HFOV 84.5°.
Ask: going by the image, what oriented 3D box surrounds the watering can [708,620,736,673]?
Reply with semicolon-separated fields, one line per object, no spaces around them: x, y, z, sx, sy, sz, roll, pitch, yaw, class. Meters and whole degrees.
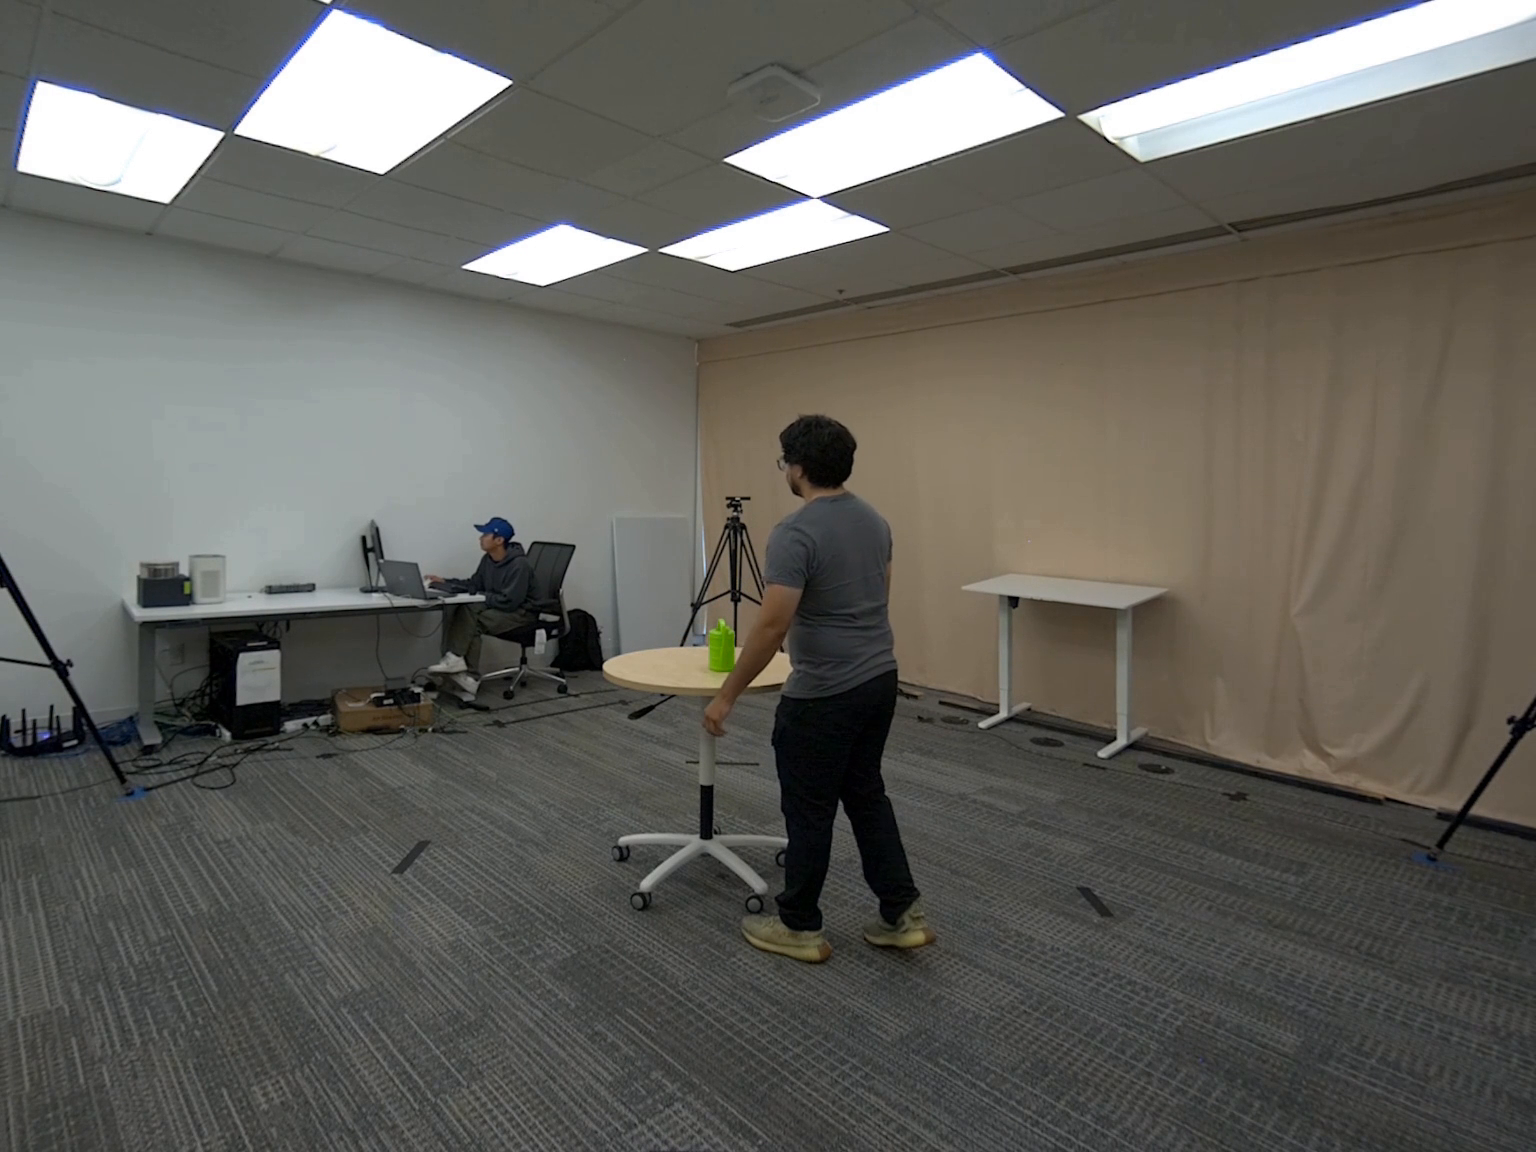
-0.180;0.253;2.955;0.098;0.176;0.277;0;4;6;watering can
